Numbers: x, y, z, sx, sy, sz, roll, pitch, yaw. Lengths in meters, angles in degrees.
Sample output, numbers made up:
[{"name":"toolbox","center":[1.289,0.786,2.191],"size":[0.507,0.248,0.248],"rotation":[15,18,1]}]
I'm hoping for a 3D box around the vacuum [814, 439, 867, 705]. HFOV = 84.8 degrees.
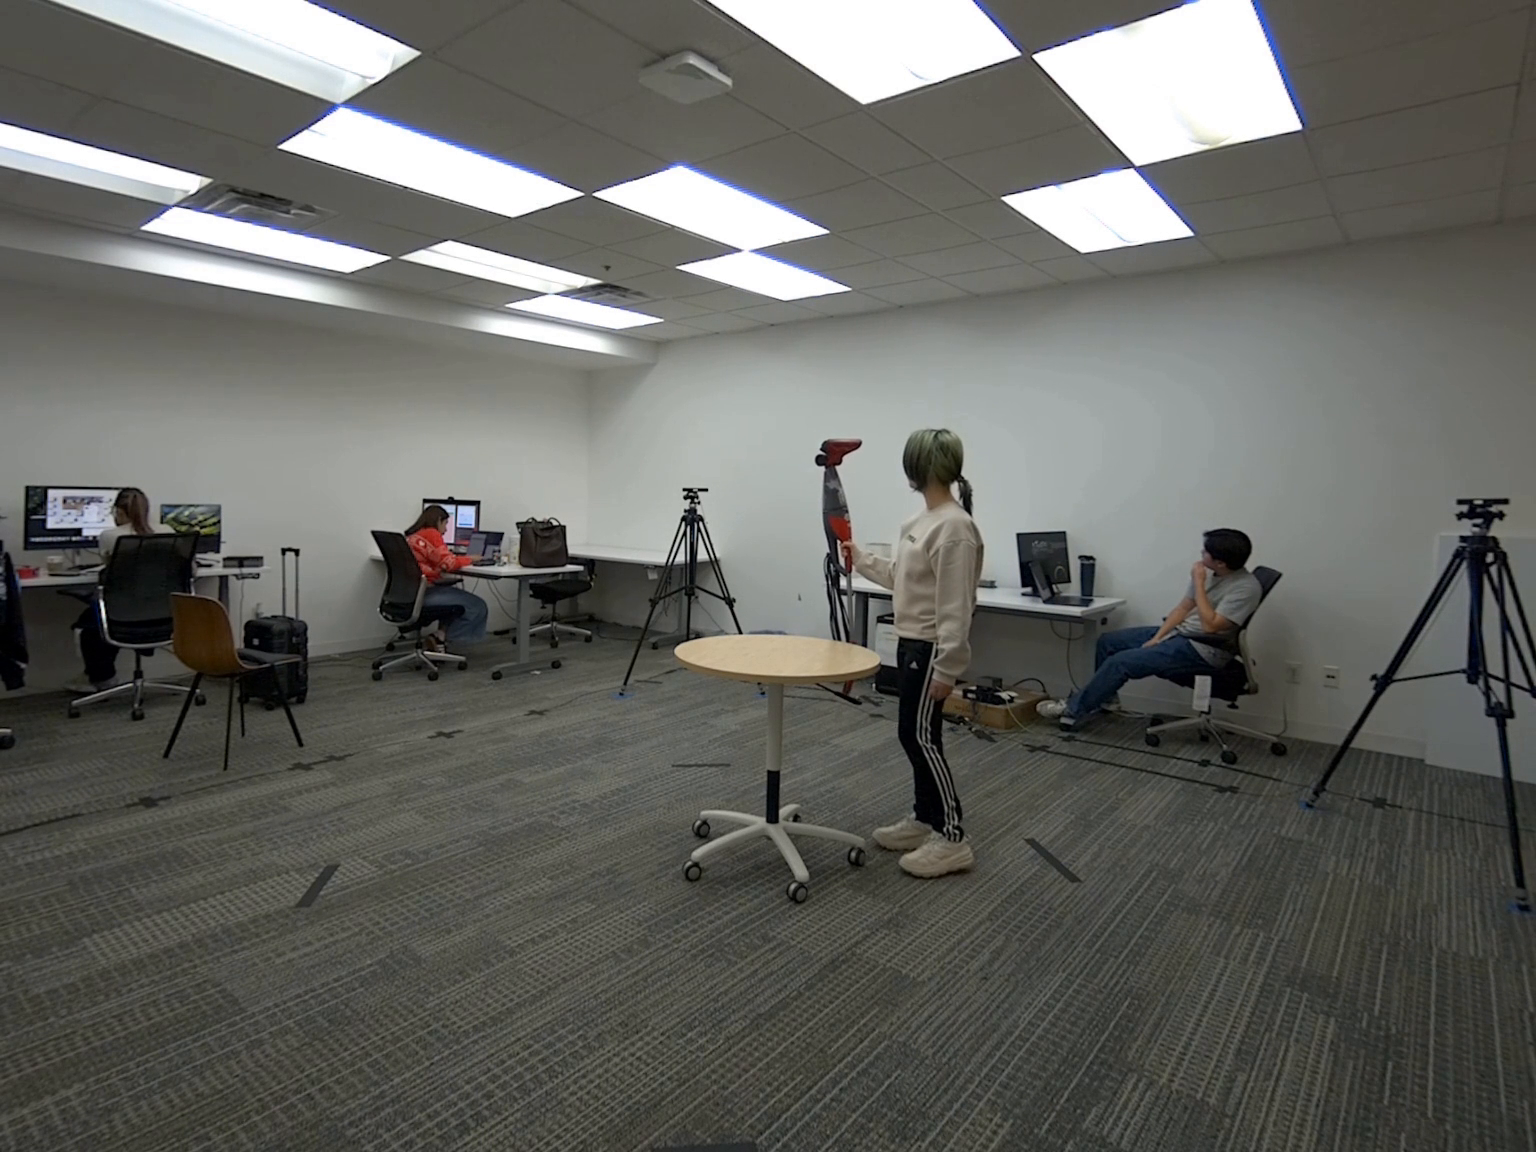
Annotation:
[{"name":"vacuum","center":[0.299,-0.031,3.649],"size":[0.149,1.046,0.245],"rotation":[3,4,43]}]
